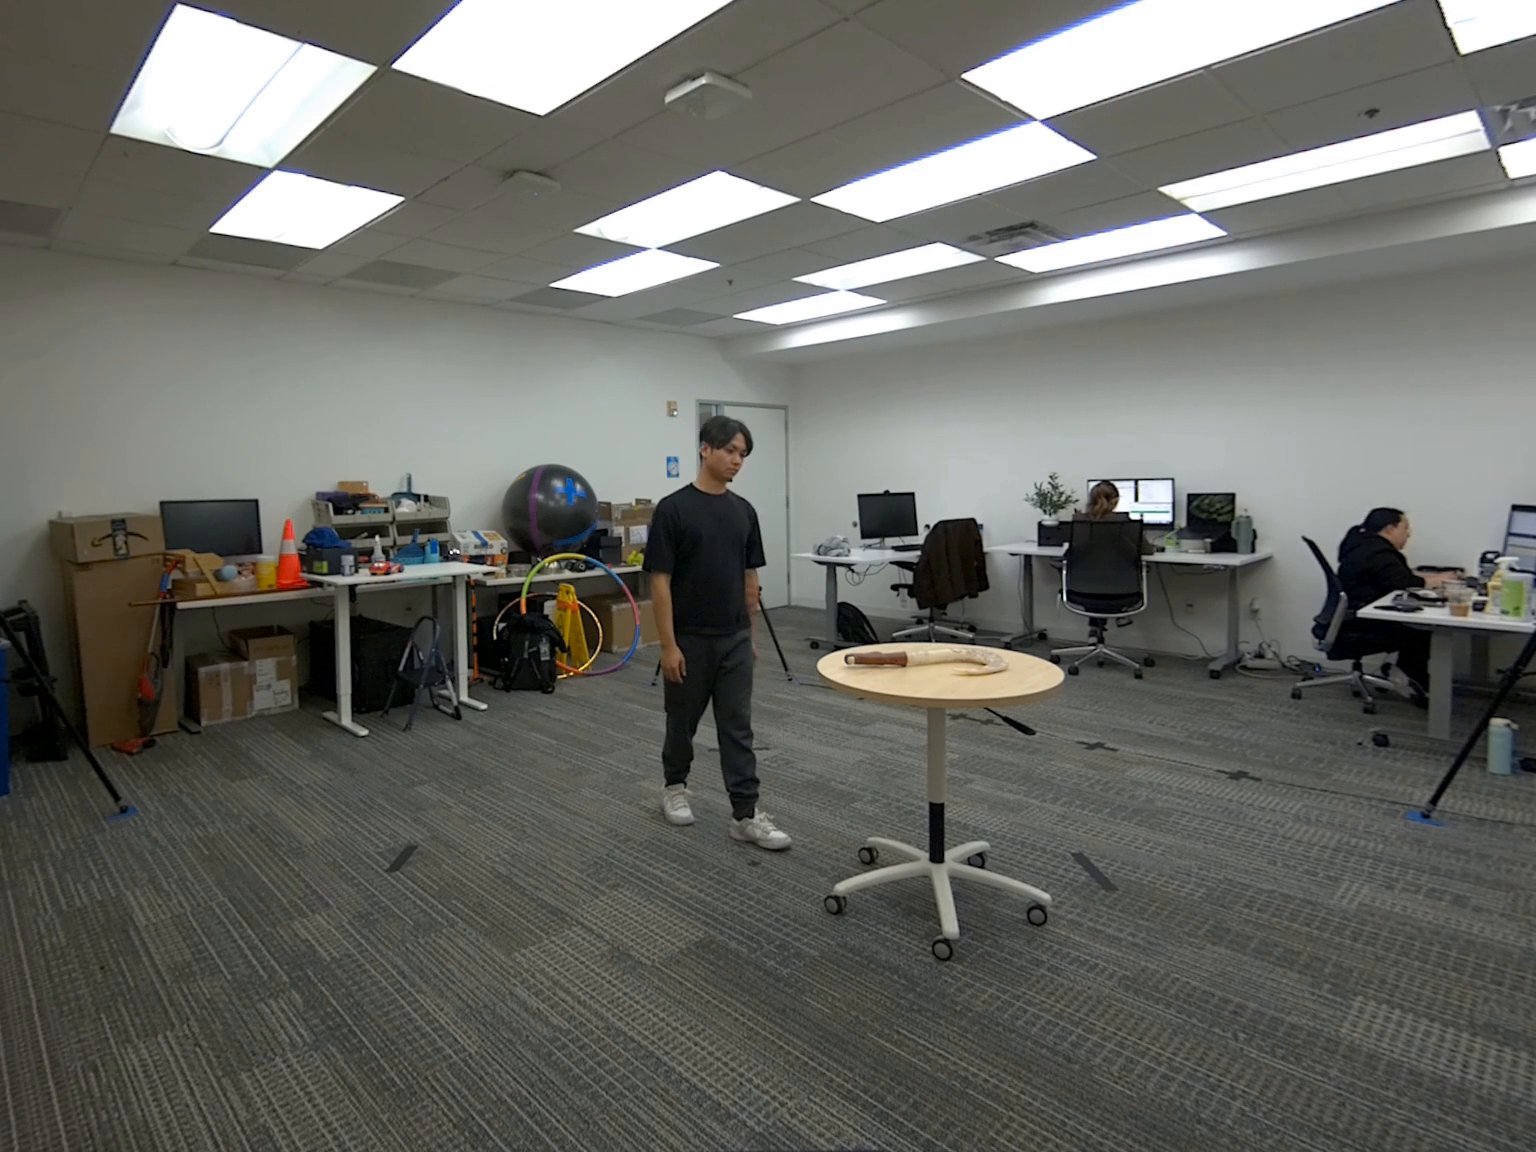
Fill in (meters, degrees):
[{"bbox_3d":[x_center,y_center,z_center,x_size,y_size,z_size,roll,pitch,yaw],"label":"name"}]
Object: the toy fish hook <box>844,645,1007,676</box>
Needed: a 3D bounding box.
[{"bbox_3d":[0.510,0.271,2.713,0.506,0.048,0.225,0,3,-2],"label":"toy fish hook"}]
